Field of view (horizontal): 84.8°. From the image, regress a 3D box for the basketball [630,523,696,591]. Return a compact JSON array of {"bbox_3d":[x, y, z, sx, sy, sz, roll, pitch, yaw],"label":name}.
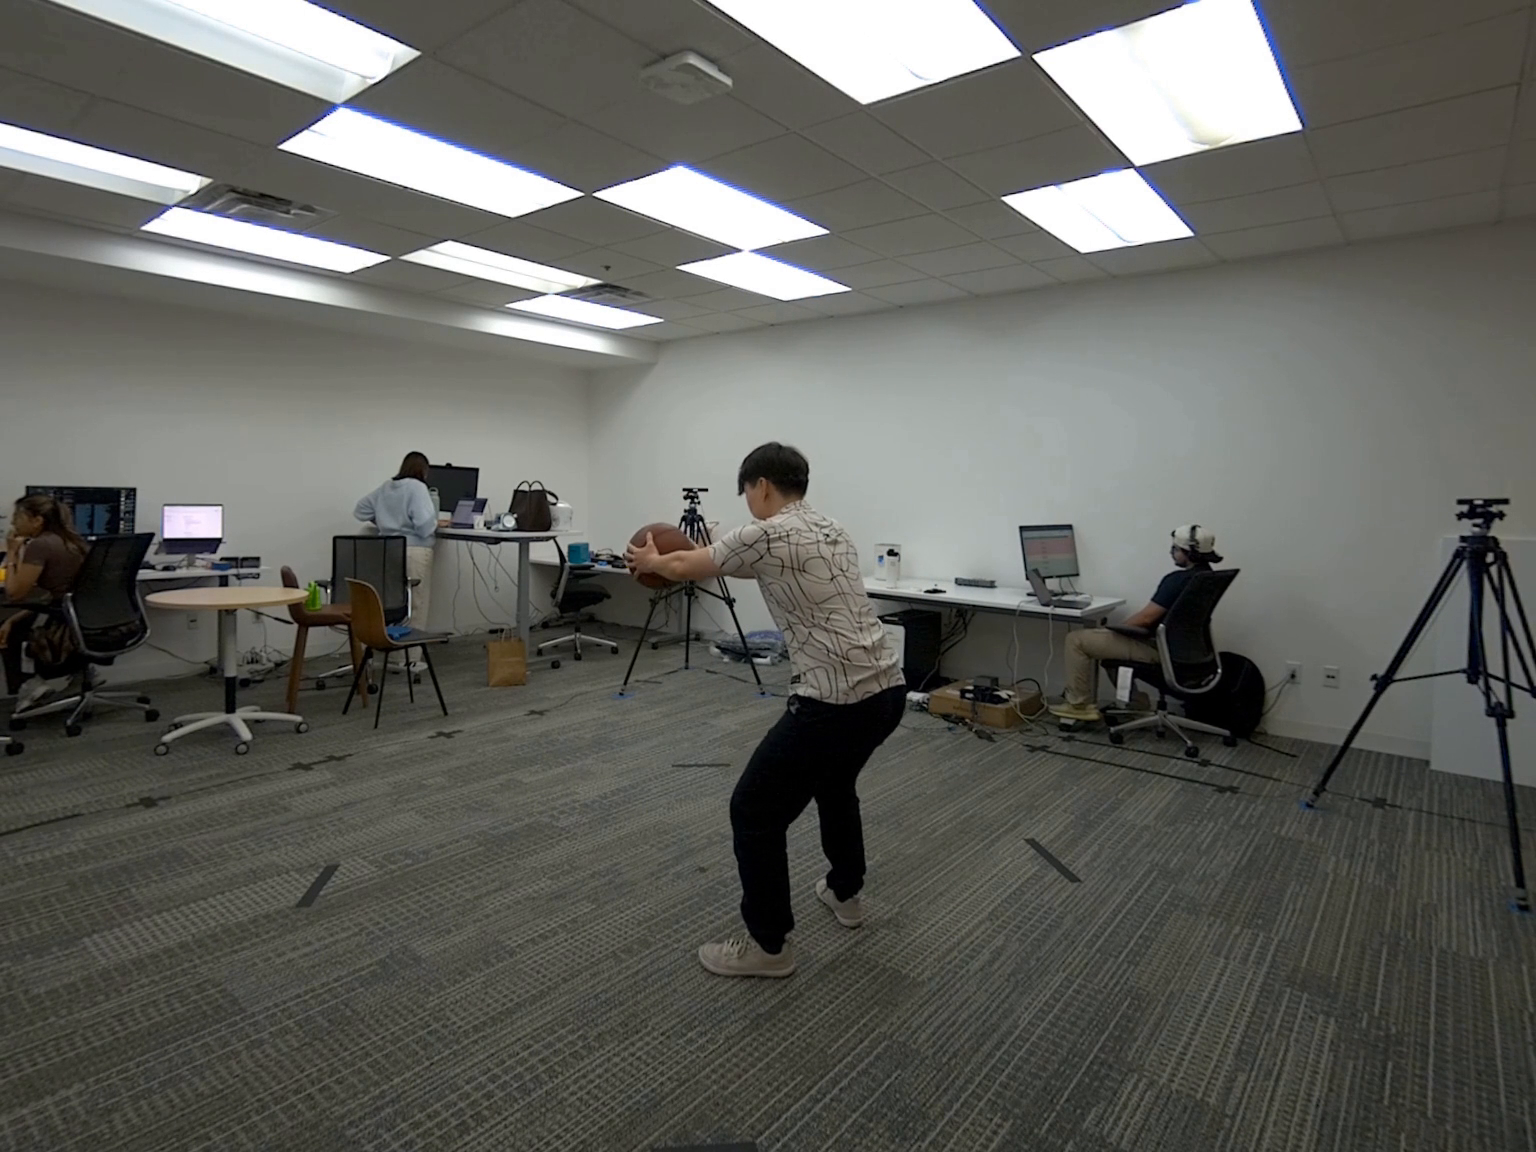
[{"bbox_3d":[-0.395,-0.071,3.020,0.235,0.235,0.237,1,4,-2],"label":"basketball"}]
